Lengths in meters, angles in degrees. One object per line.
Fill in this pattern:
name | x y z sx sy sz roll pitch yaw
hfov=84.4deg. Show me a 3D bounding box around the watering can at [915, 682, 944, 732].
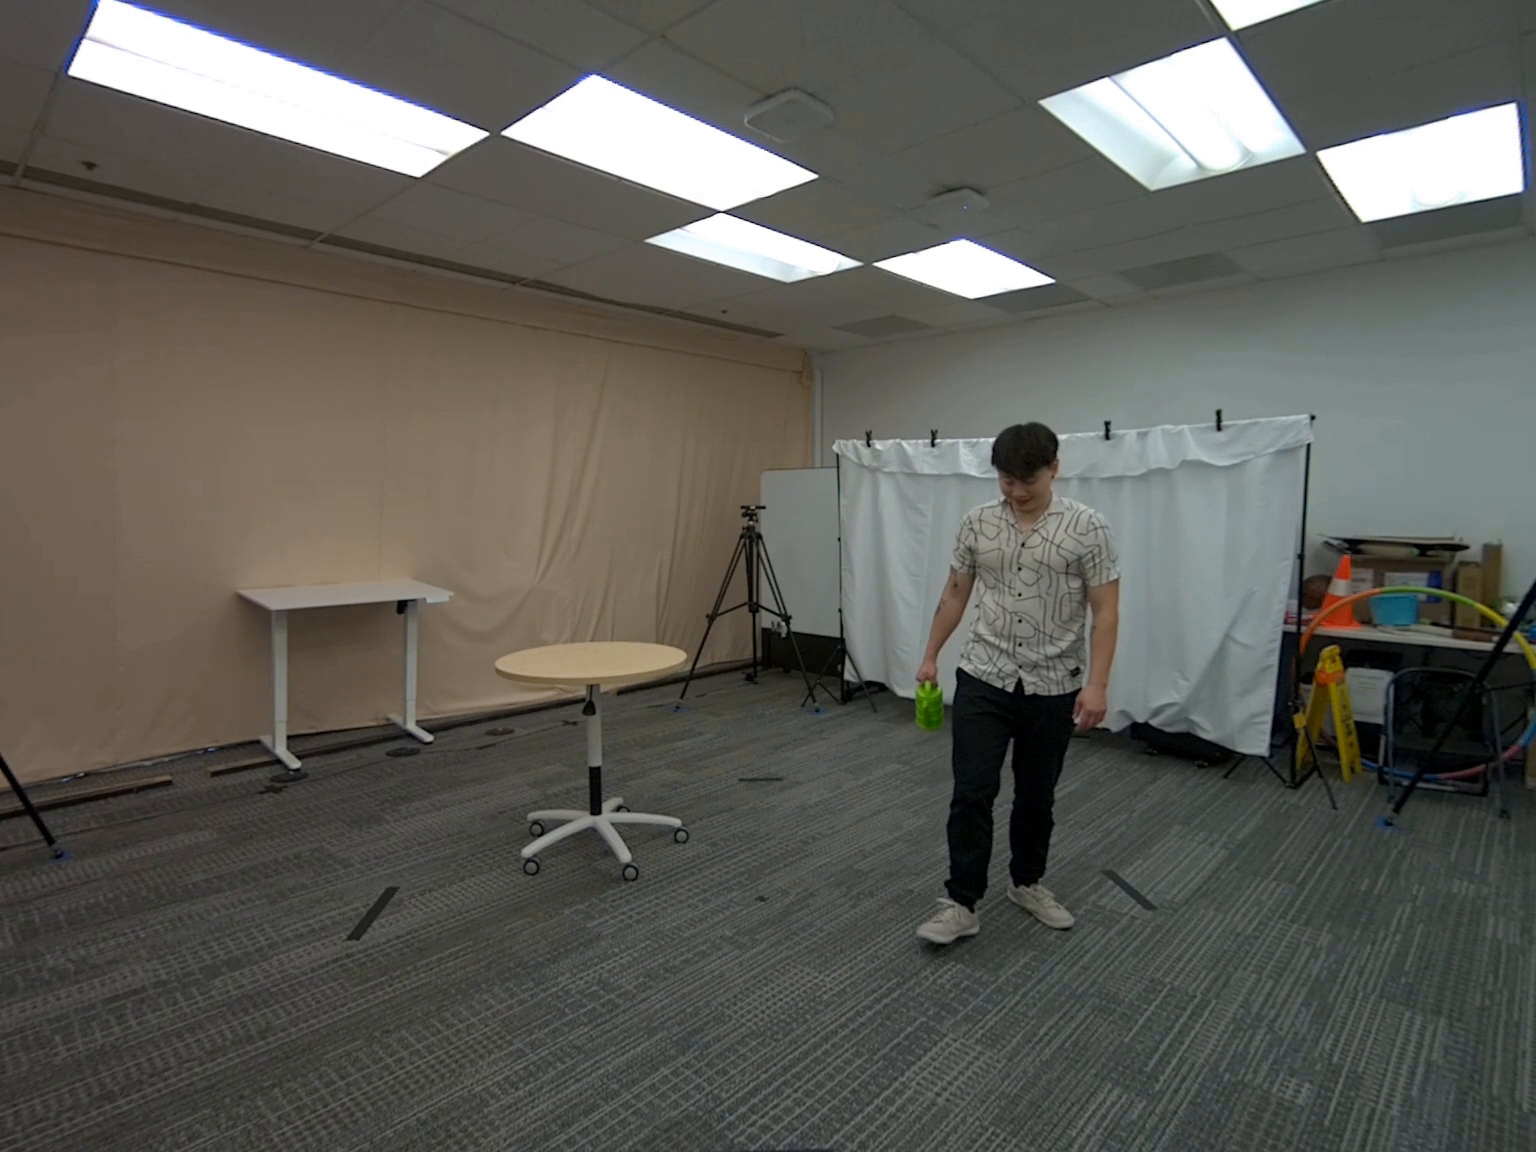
watering can | 0.557 0.459 2.917 0.100 0.174 0.275 3 20 24
